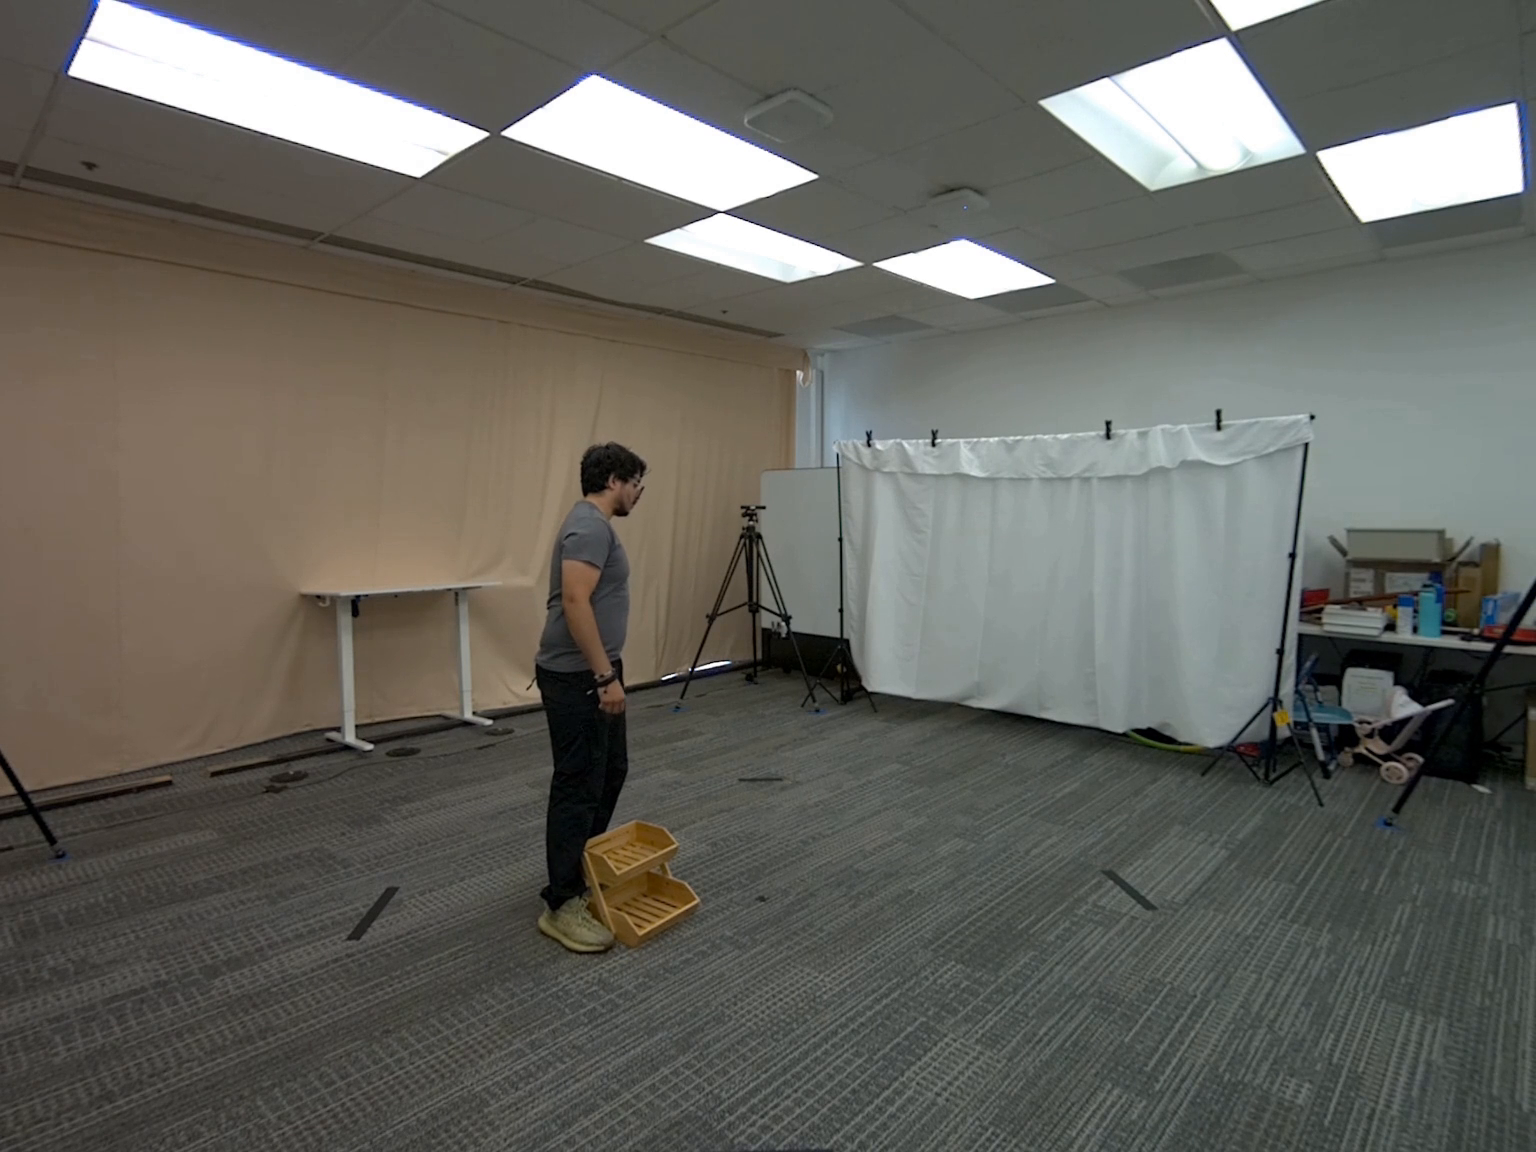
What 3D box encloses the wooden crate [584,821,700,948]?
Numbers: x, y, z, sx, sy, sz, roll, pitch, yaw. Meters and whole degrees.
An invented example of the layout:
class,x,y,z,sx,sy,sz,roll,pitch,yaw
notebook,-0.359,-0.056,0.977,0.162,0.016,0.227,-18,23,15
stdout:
class,x,y,z,sx,sy,sz,roll,pitch,yaw
wooden crate,-0.437,1.026,2.839,0.311,0.273,0.315,1,4,36
